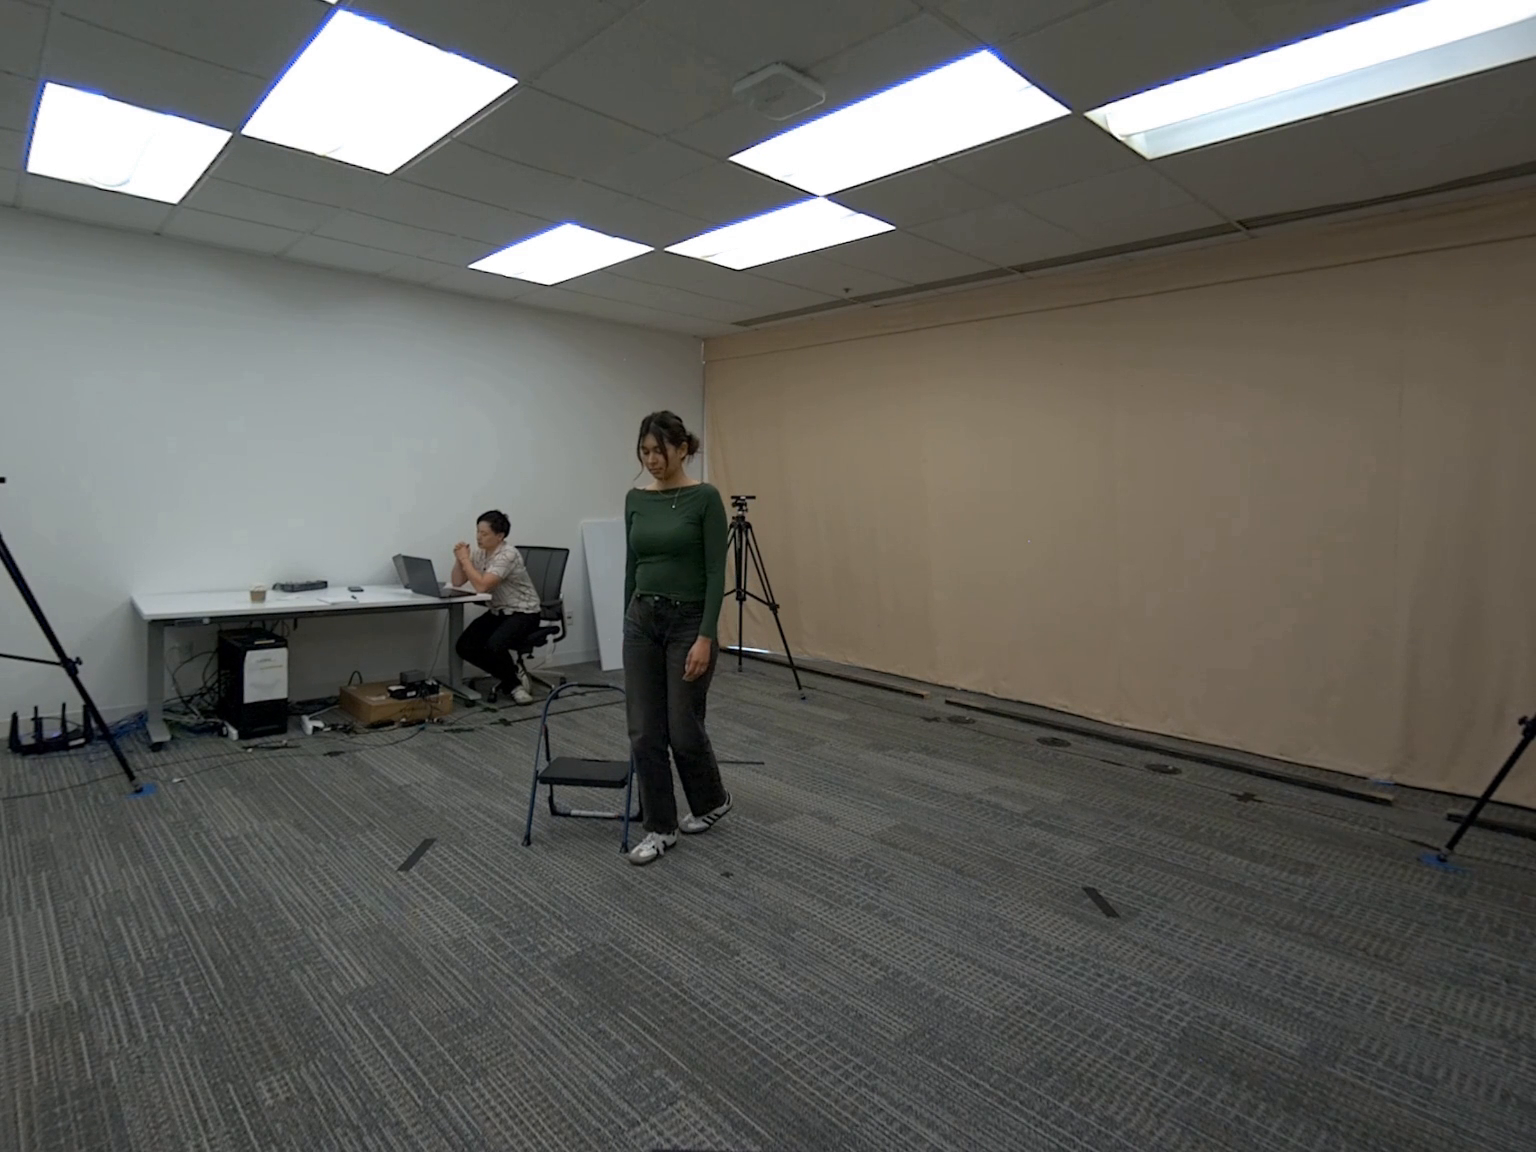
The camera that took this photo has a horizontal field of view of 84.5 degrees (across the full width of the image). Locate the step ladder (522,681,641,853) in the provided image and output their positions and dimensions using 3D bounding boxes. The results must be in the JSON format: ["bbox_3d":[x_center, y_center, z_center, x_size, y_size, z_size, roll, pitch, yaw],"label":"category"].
[{"bbox_3d":[-0.755,0.756,3.457,0.432,0.604,0.349,2,4,5],"label":"step ladder"}]
